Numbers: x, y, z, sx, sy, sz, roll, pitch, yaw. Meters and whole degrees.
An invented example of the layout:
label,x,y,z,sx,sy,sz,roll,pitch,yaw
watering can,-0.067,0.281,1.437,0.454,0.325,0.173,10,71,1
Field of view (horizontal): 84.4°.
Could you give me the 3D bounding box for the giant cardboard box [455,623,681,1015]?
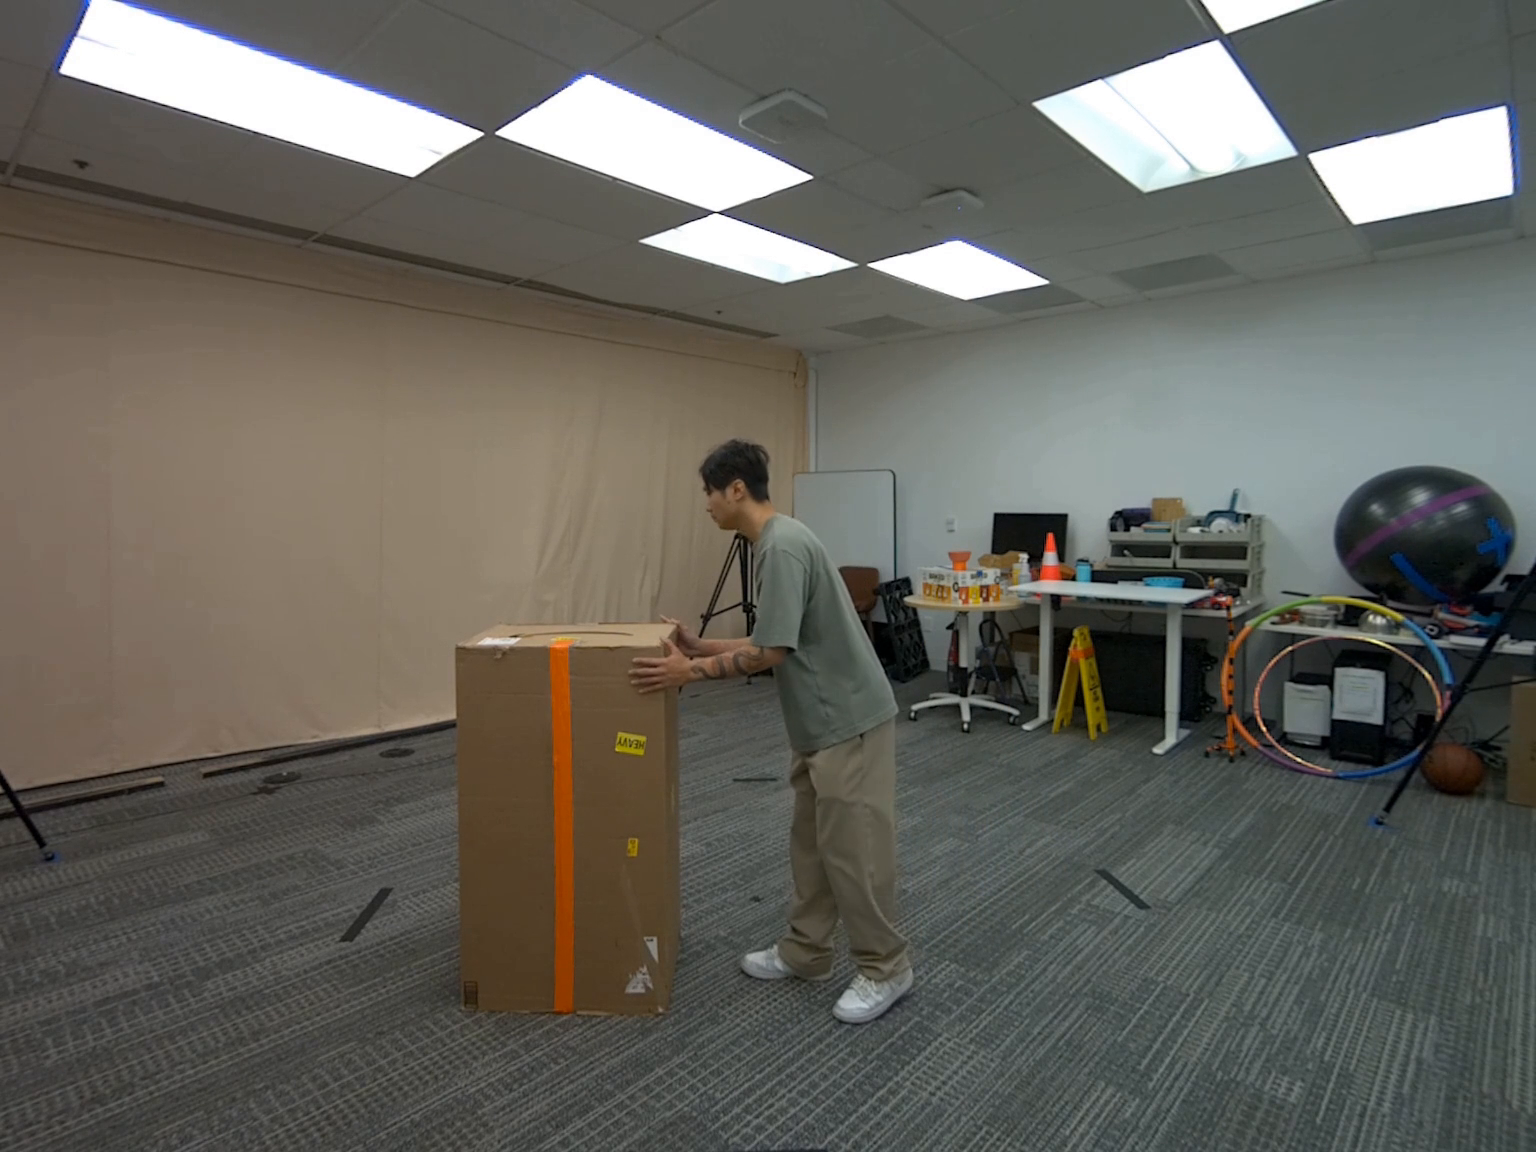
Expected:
label,x,y,z,sx,sy,sz,roll,pitch,yaw
giant cardboard box,-0.571,0.680,2.500,0.579,1.024,0.426,0,2,2
